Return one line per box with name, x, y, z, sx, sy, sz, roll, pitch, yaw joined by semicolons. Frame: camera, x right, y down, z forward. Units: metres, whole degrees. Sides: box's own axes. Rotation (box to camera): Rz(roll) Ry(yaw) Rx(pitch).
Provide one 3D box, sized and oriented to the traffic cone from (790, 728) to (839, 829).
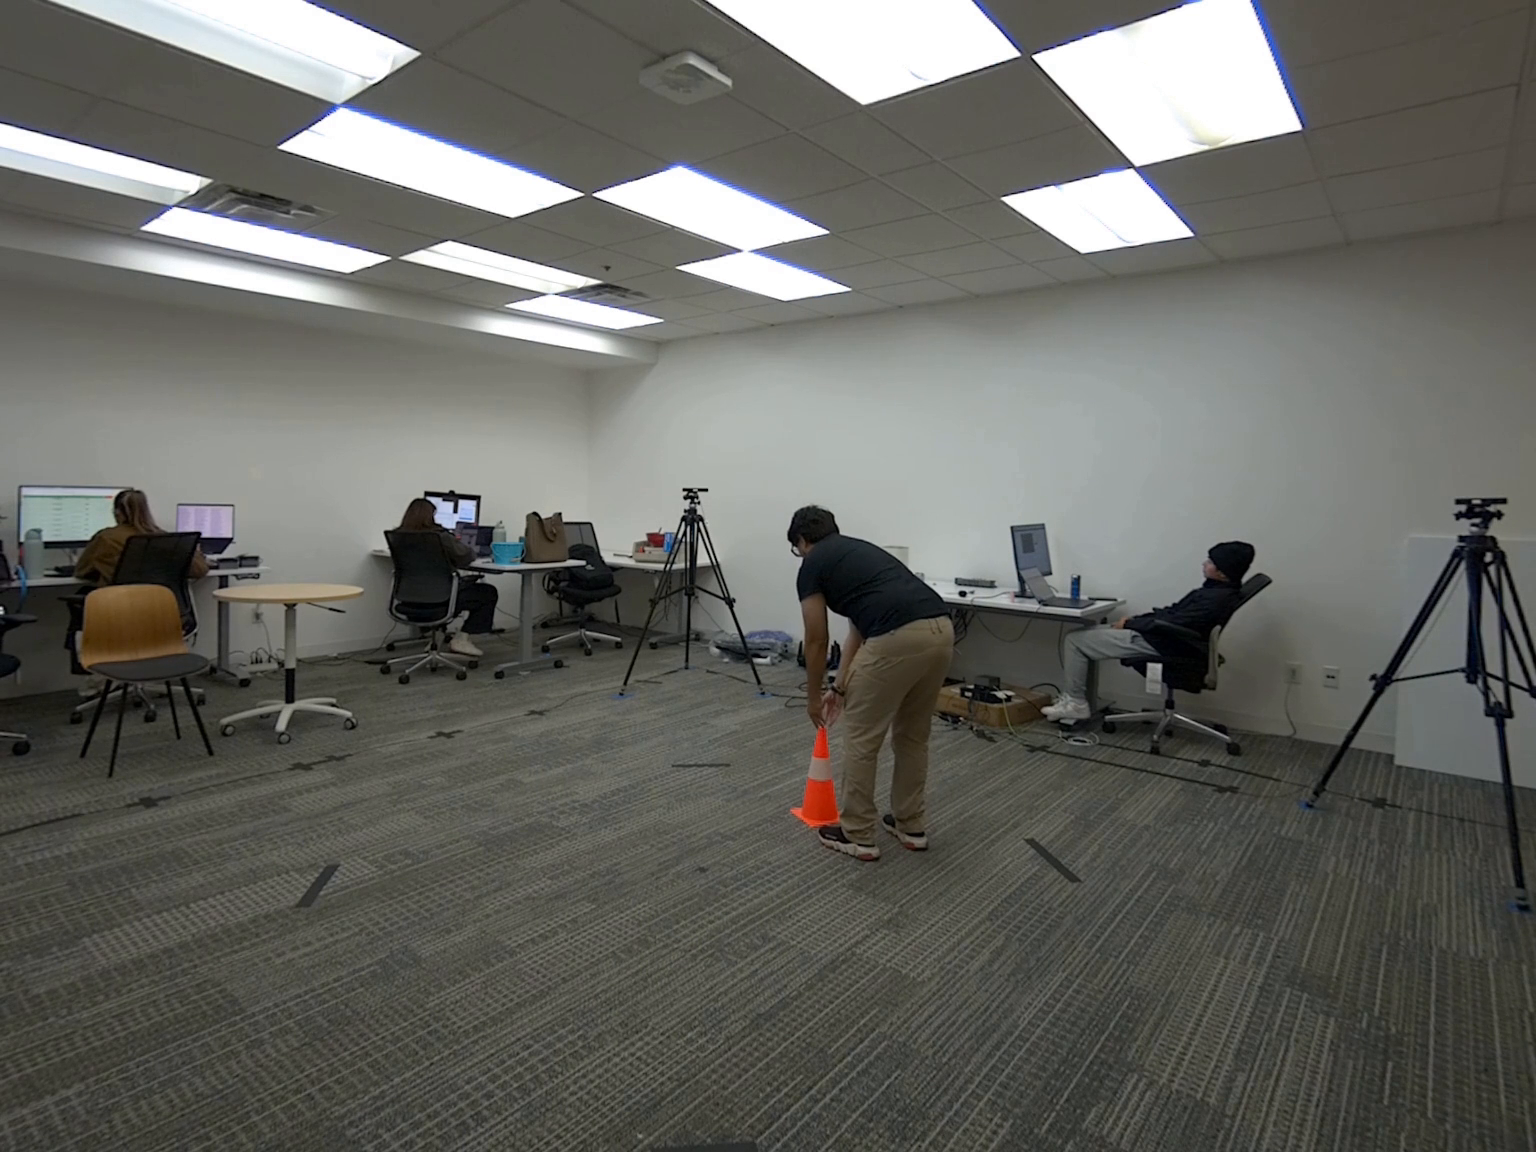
traffic cone;0.221;0.844;3.652;0.198;0.382;0.211;-1;5;-25
